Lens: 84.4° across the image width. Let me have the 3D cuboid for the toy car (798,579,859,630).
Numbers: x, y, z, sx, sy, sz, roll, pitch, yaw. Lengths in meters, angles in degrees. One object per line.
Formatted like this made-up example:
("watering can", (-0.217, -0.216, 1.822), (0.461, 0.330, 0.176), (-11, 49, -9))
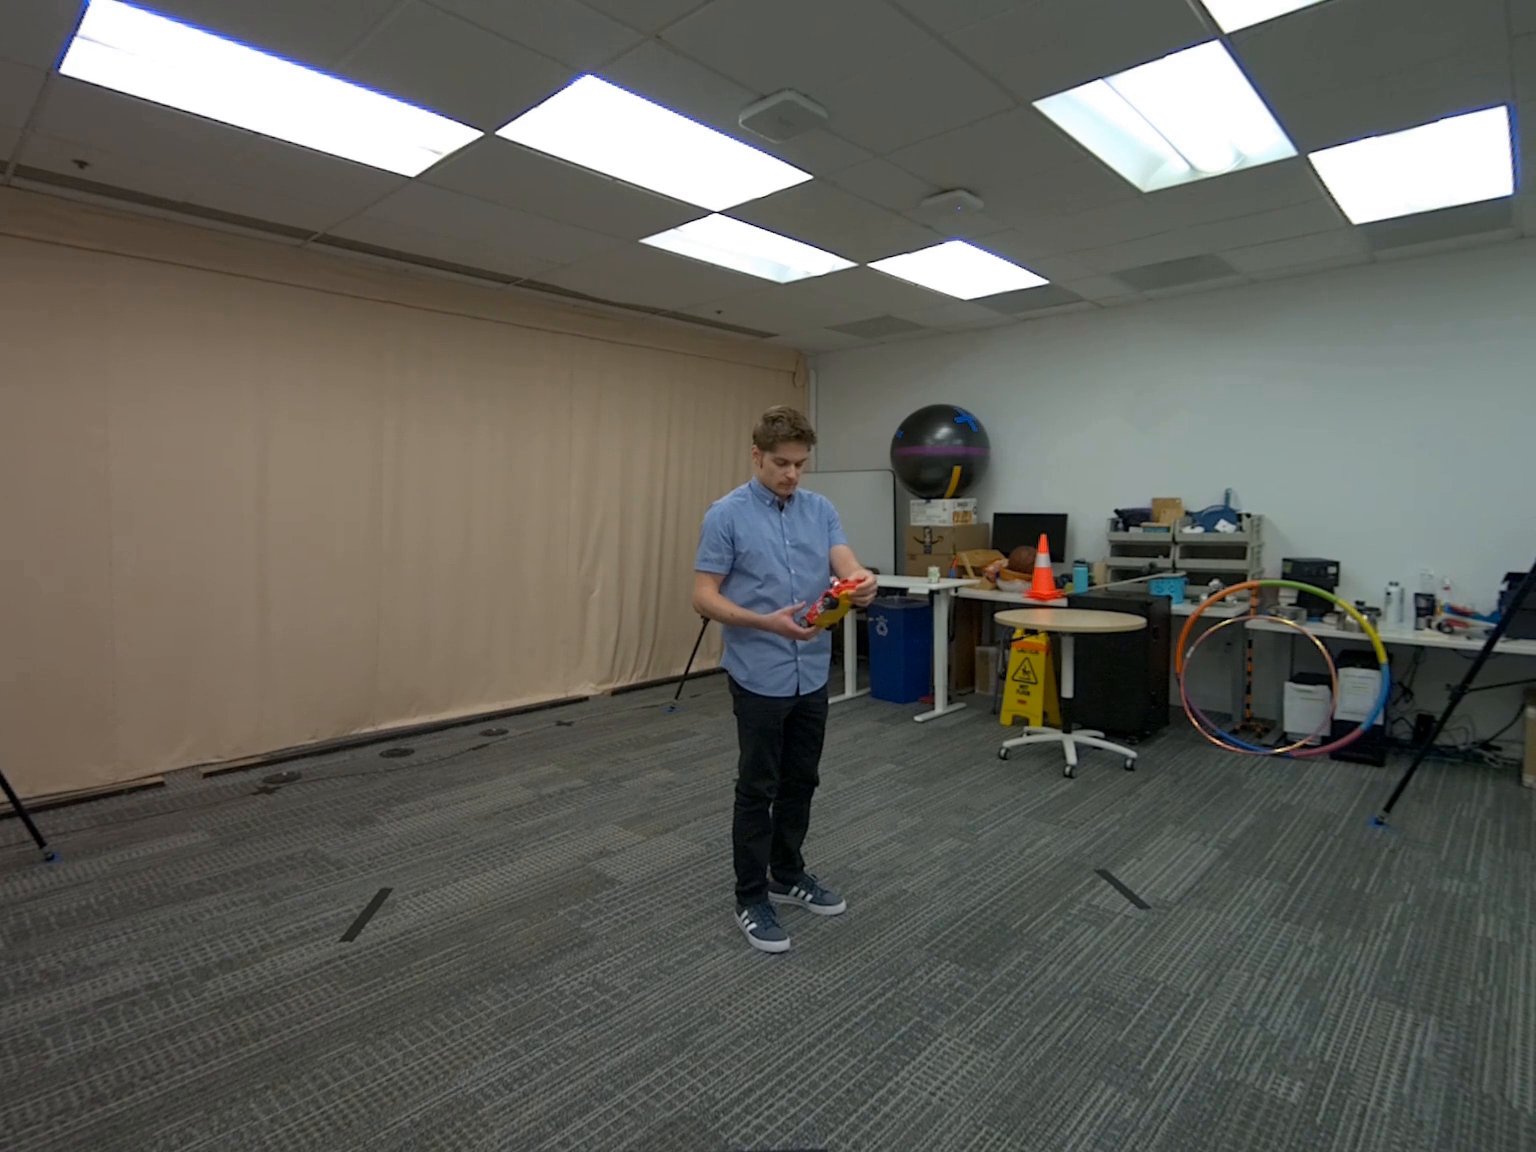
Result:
("toy car", (0.193, 0.092, 2.435), (0.127, 0.085, 0.254), (0, -41, -28))
